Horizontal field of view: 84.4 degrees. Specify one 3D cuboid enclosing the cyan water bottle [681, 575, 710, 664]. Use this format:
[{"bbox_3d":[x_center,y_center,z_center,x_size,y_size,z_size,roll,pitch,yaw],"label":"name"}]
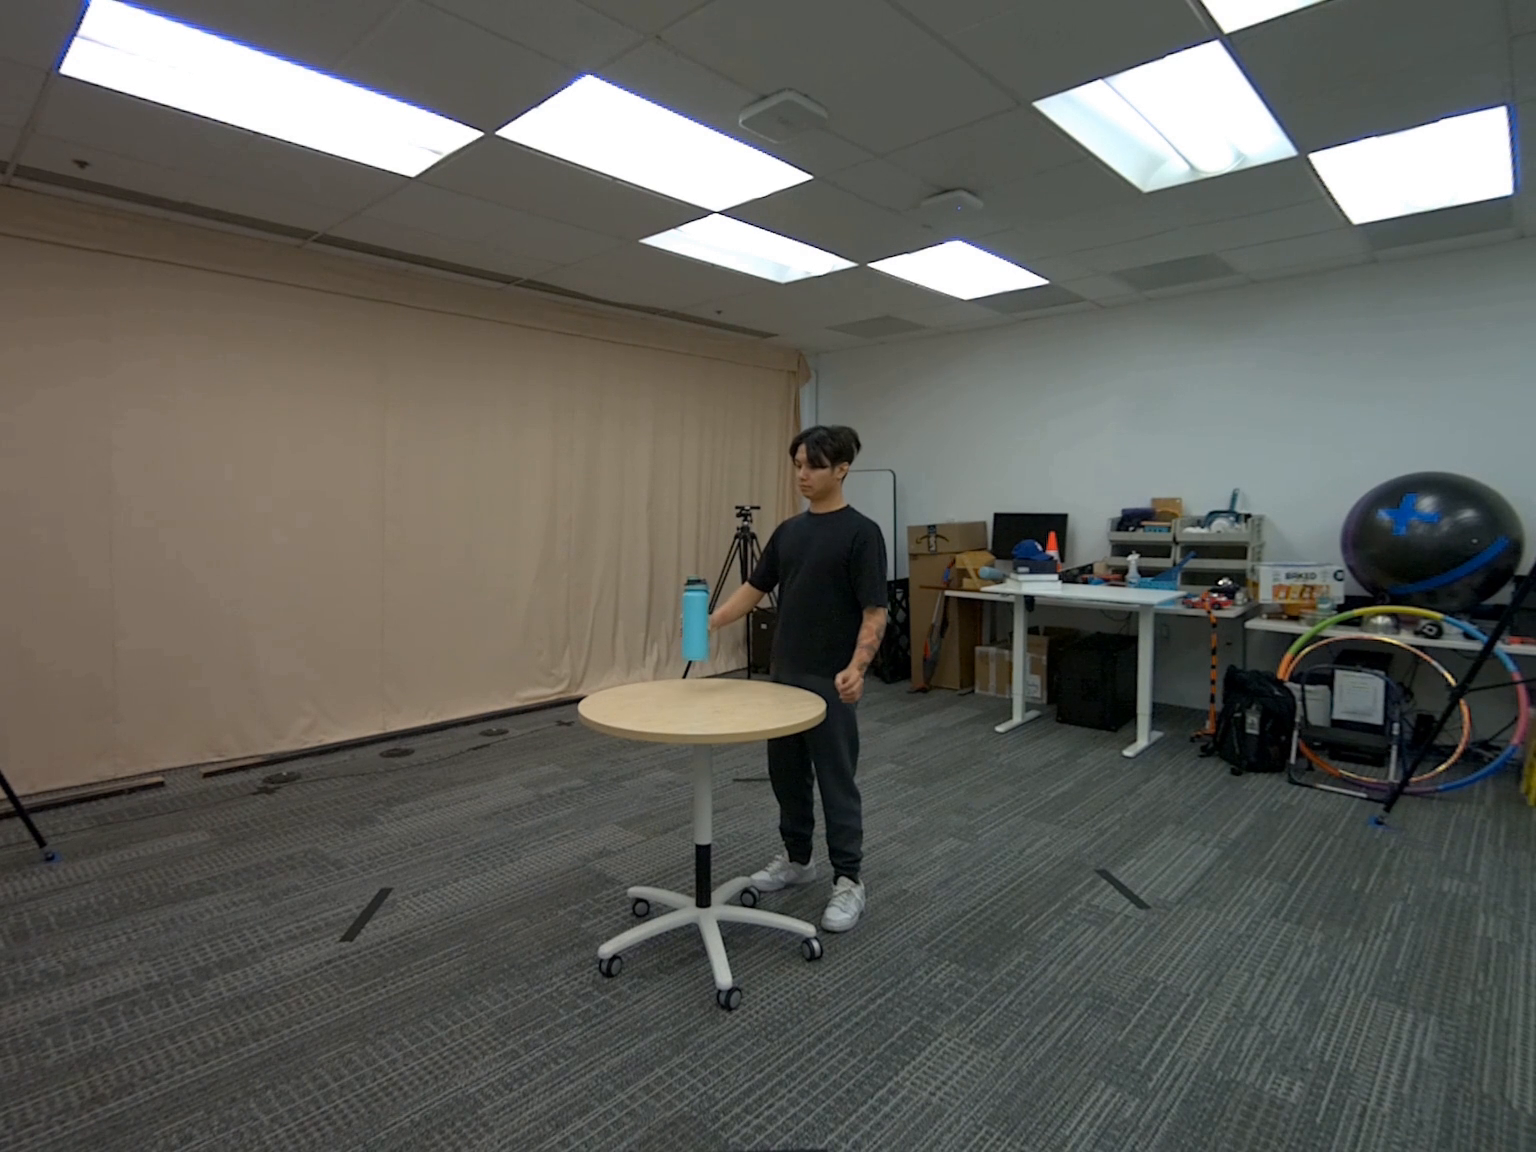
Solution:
[{"bbox_3d":[-0.240,0.143,2.832,0.092,0.284,0.092,0,-4,-2],"label":"cyan water bottle"}]
